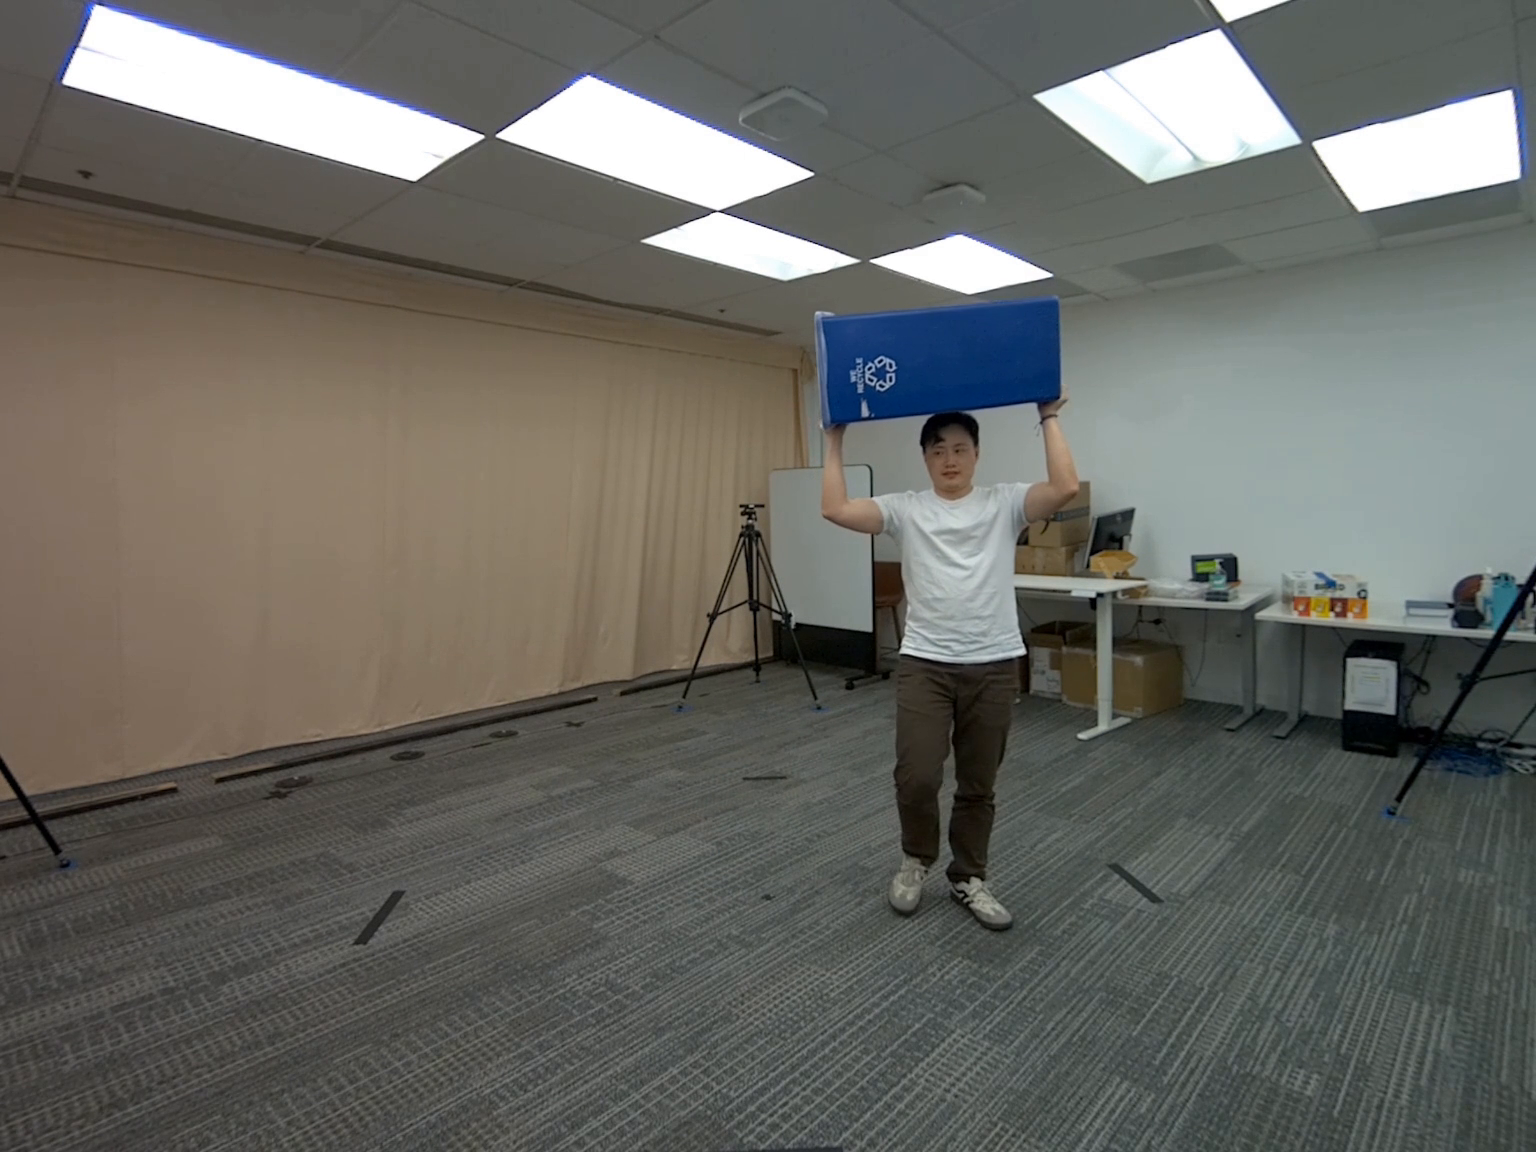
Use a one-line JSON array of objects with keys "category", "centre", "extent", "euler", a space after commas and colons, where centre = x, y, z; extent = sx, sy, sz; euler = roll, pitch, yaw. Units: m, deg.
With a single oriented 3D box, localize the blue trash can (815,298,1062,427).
[{"category": "blue trash can", "centre": [0.534, -0.700, 2.698], "extent": [0.726, 0.374, 0.371], "euler": [-2, 15, 16]}]
